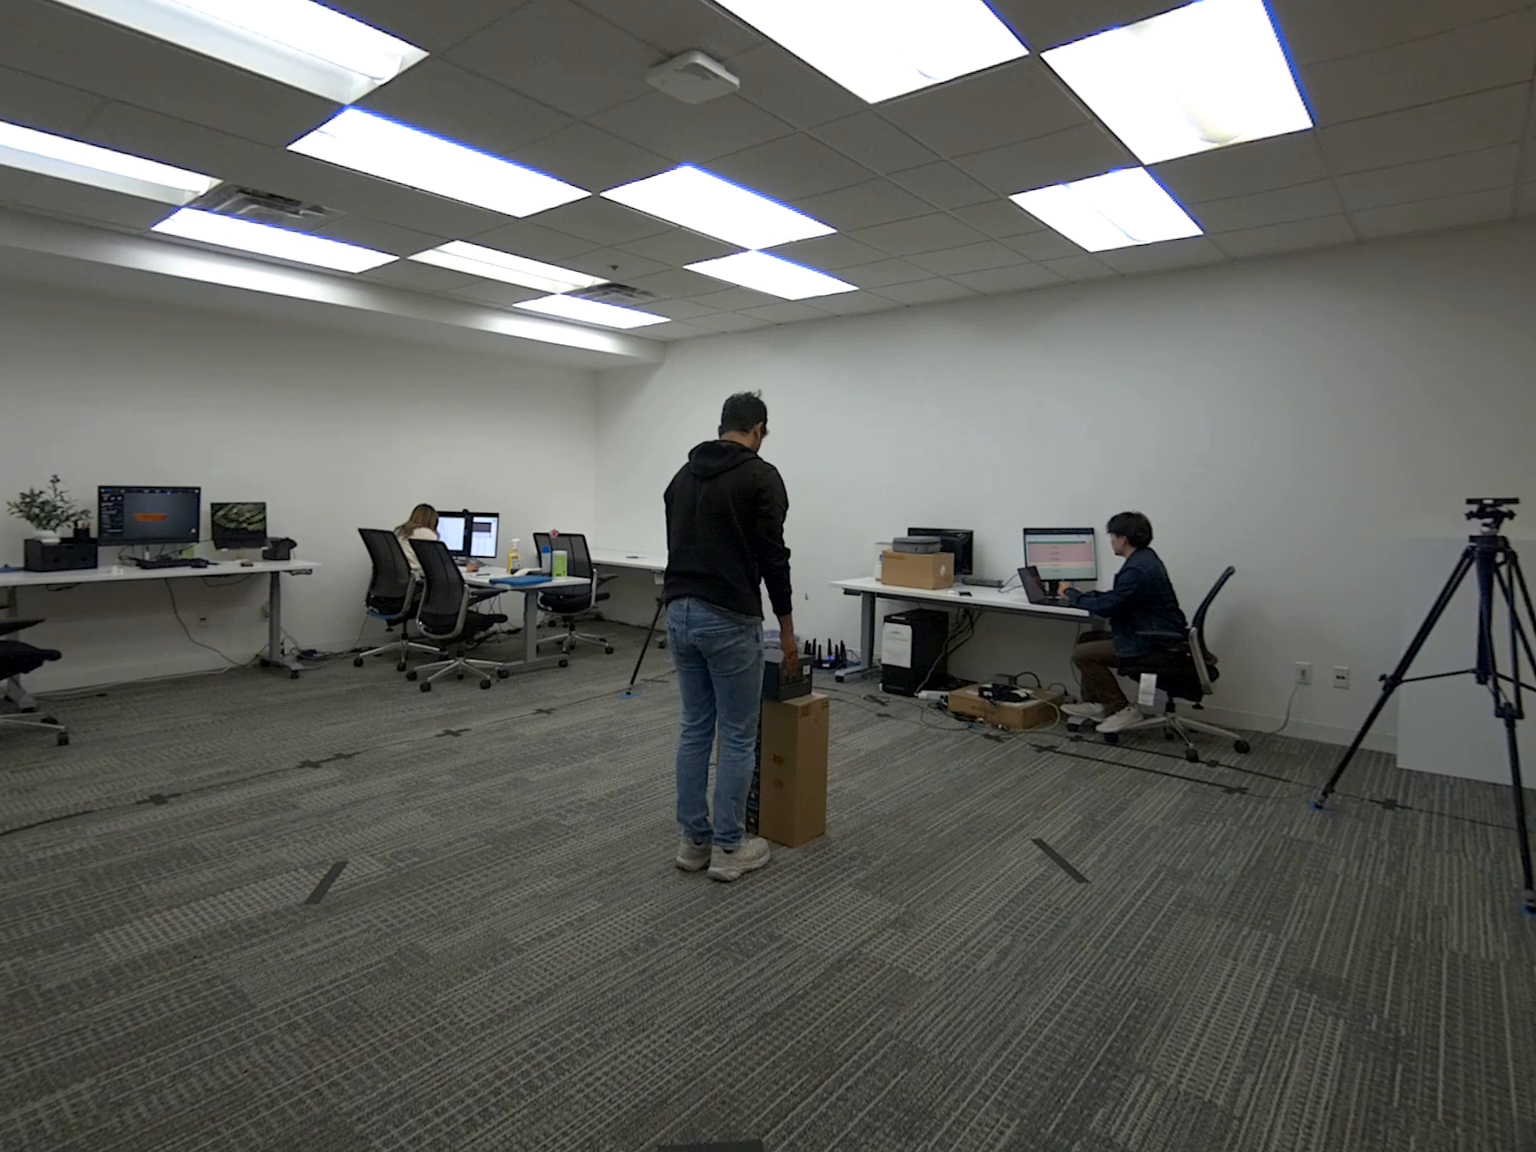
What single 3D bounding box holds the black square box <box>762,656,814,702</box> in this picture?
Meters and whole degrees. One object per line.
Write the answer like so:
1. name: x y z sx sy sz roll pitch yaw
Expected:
1. black square box: 0.017 0.393 3.450 0.236 0.155 0.210 5 7 42
